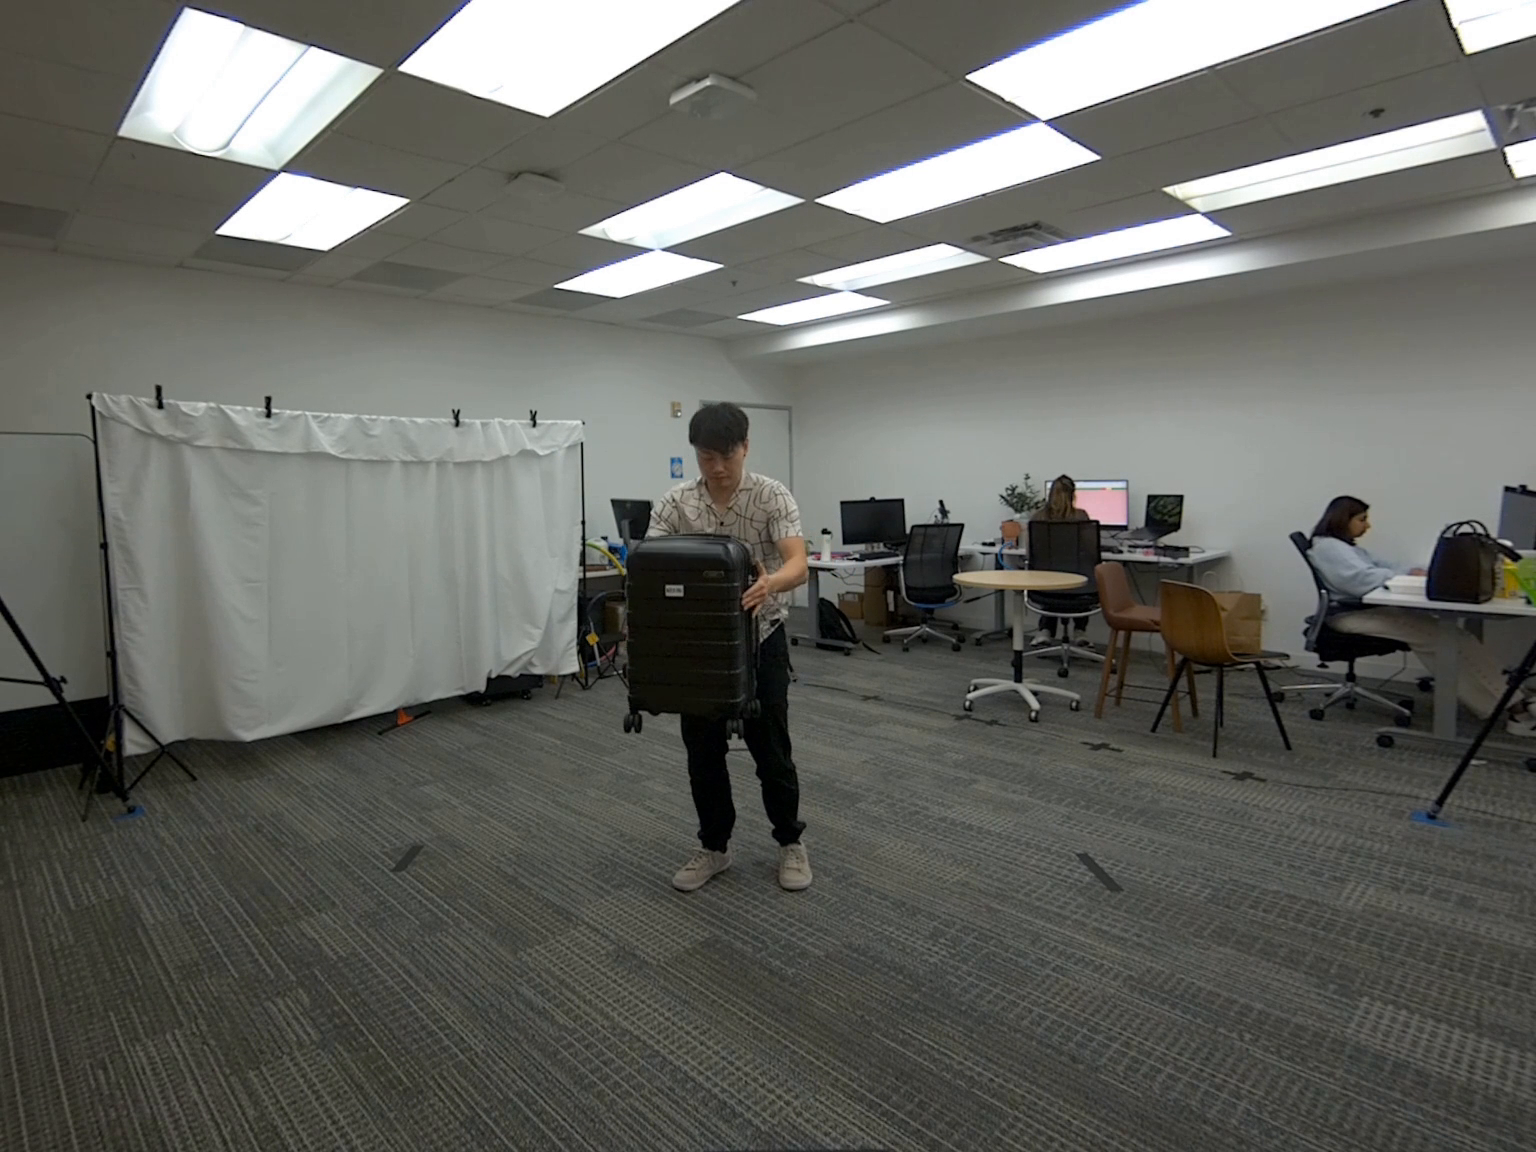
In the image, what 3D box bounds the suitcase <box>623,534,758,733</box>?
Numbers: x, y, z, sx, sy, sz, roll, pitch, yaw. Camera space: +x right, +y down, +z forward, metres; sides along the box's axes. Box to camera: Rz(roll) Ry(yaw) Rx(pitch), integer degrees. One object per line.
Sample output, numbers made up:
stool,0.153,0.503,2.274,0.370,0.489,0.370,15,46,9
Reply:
suitcase,-0.218,0.156,2.480,0.380,0.547,0.246,1,5,13
